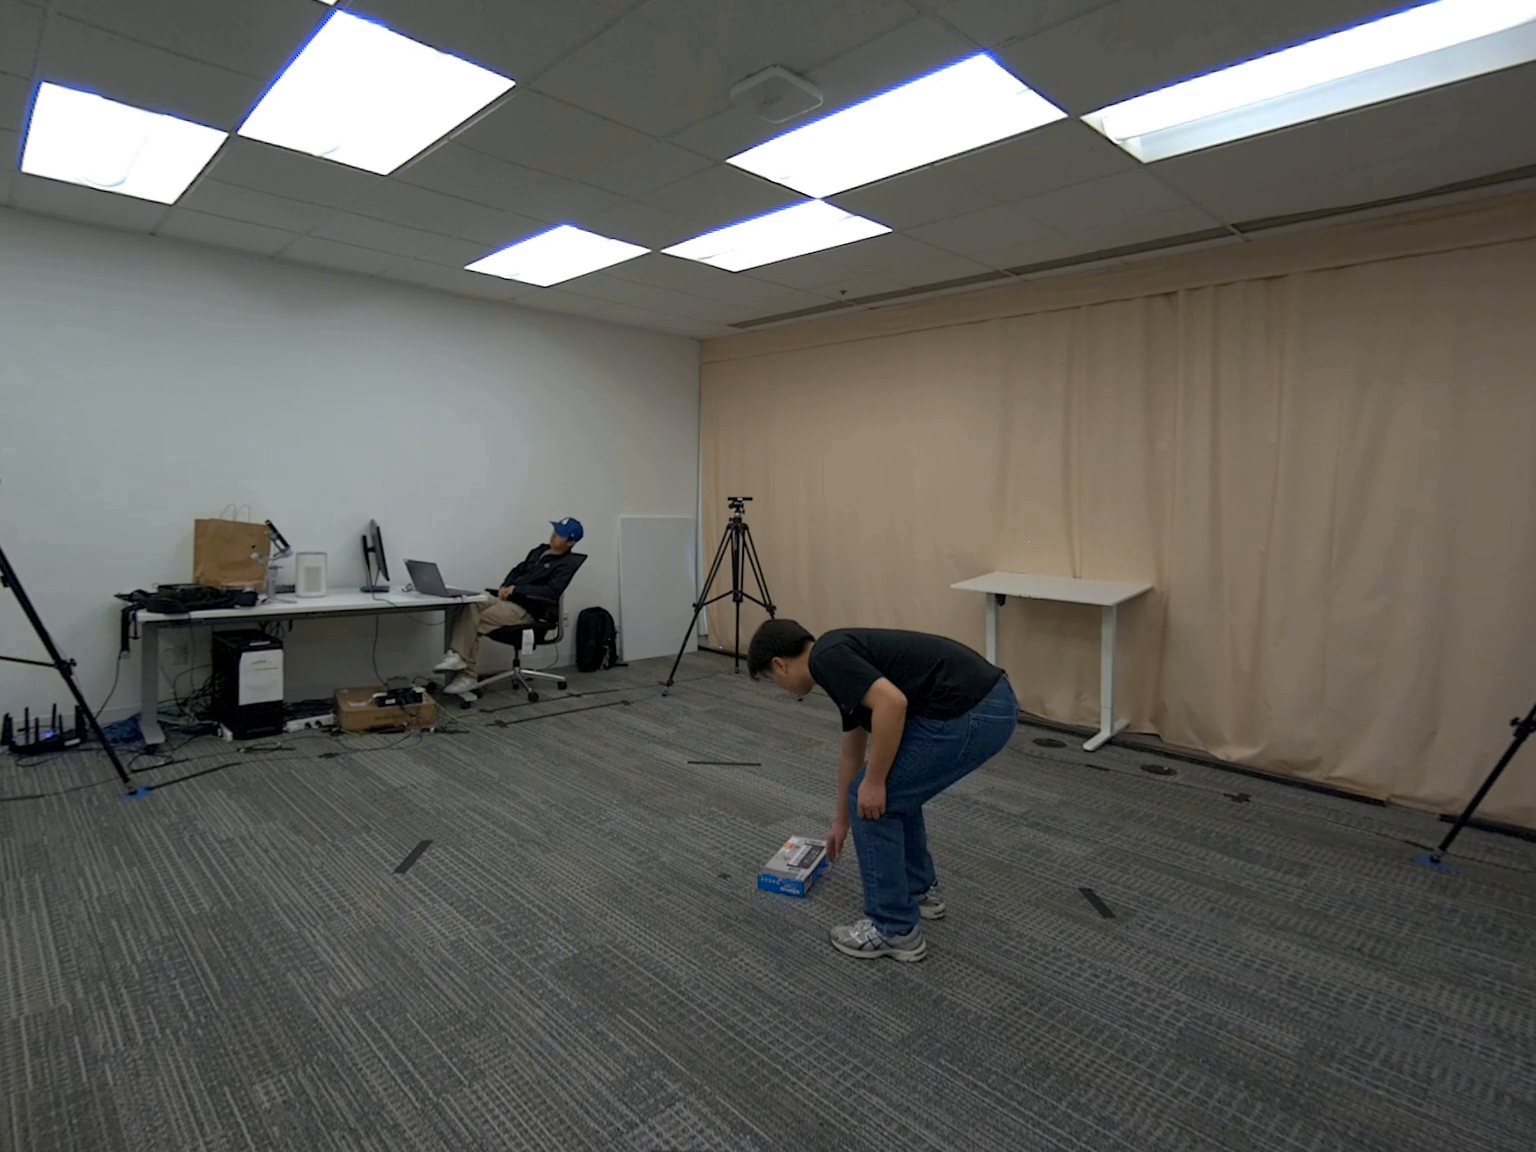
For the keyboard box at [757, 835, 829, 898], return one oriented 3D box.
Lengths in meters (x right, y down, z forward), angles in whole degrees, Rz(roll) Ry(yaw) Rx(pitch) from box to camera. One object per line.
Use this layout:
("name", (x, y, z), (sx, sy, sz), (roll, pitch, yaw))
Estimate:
("keyboard box", (0.111, 1.077, 3.173), (0.179, 0.059, 0.430), (2, 5, 21))
